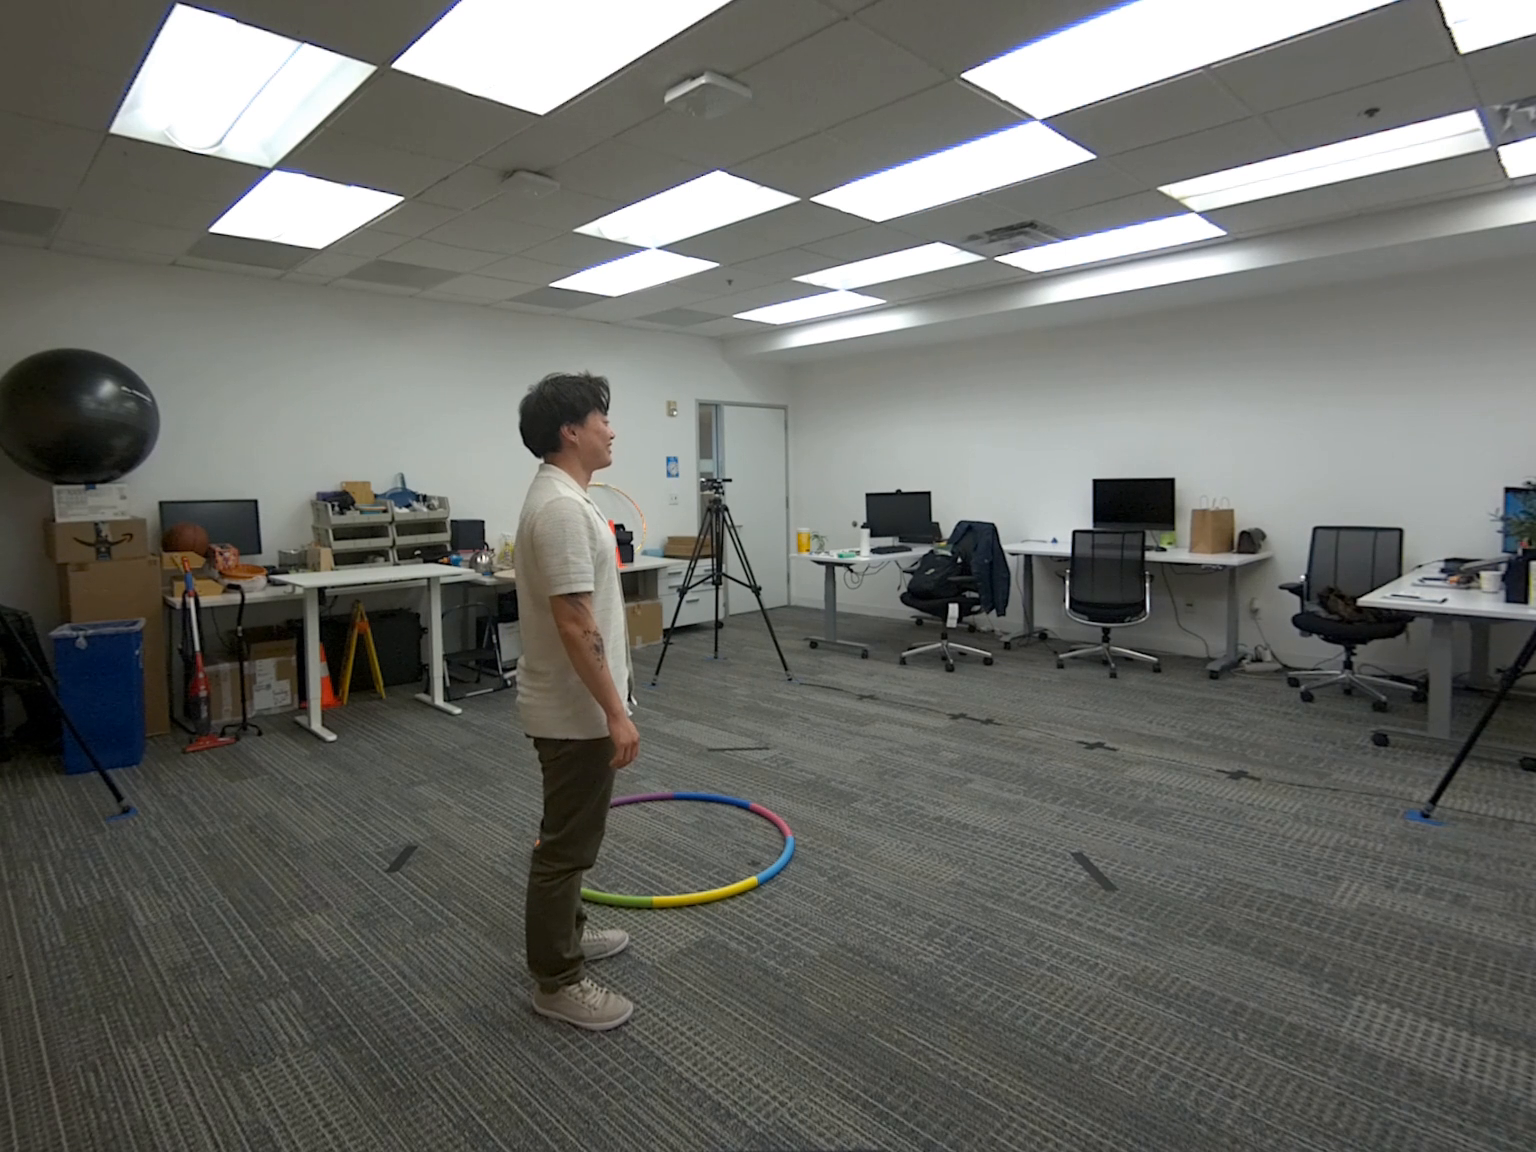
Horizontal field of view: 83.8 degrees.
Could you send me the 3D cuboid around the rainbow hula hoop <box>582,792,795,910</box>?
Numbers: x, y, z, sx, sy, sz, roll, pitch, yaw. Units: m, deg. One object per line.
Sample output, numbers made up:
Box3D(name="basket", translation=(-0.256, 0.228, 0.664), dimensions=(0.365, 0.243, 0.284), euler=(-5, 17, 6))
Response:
Box3D(name="rainbow hula hoop", translation=(-0.391, 1.001, 3.271), dimensions=(0.978, 0.035, 0.984), euler=(-1, 6, -2))
